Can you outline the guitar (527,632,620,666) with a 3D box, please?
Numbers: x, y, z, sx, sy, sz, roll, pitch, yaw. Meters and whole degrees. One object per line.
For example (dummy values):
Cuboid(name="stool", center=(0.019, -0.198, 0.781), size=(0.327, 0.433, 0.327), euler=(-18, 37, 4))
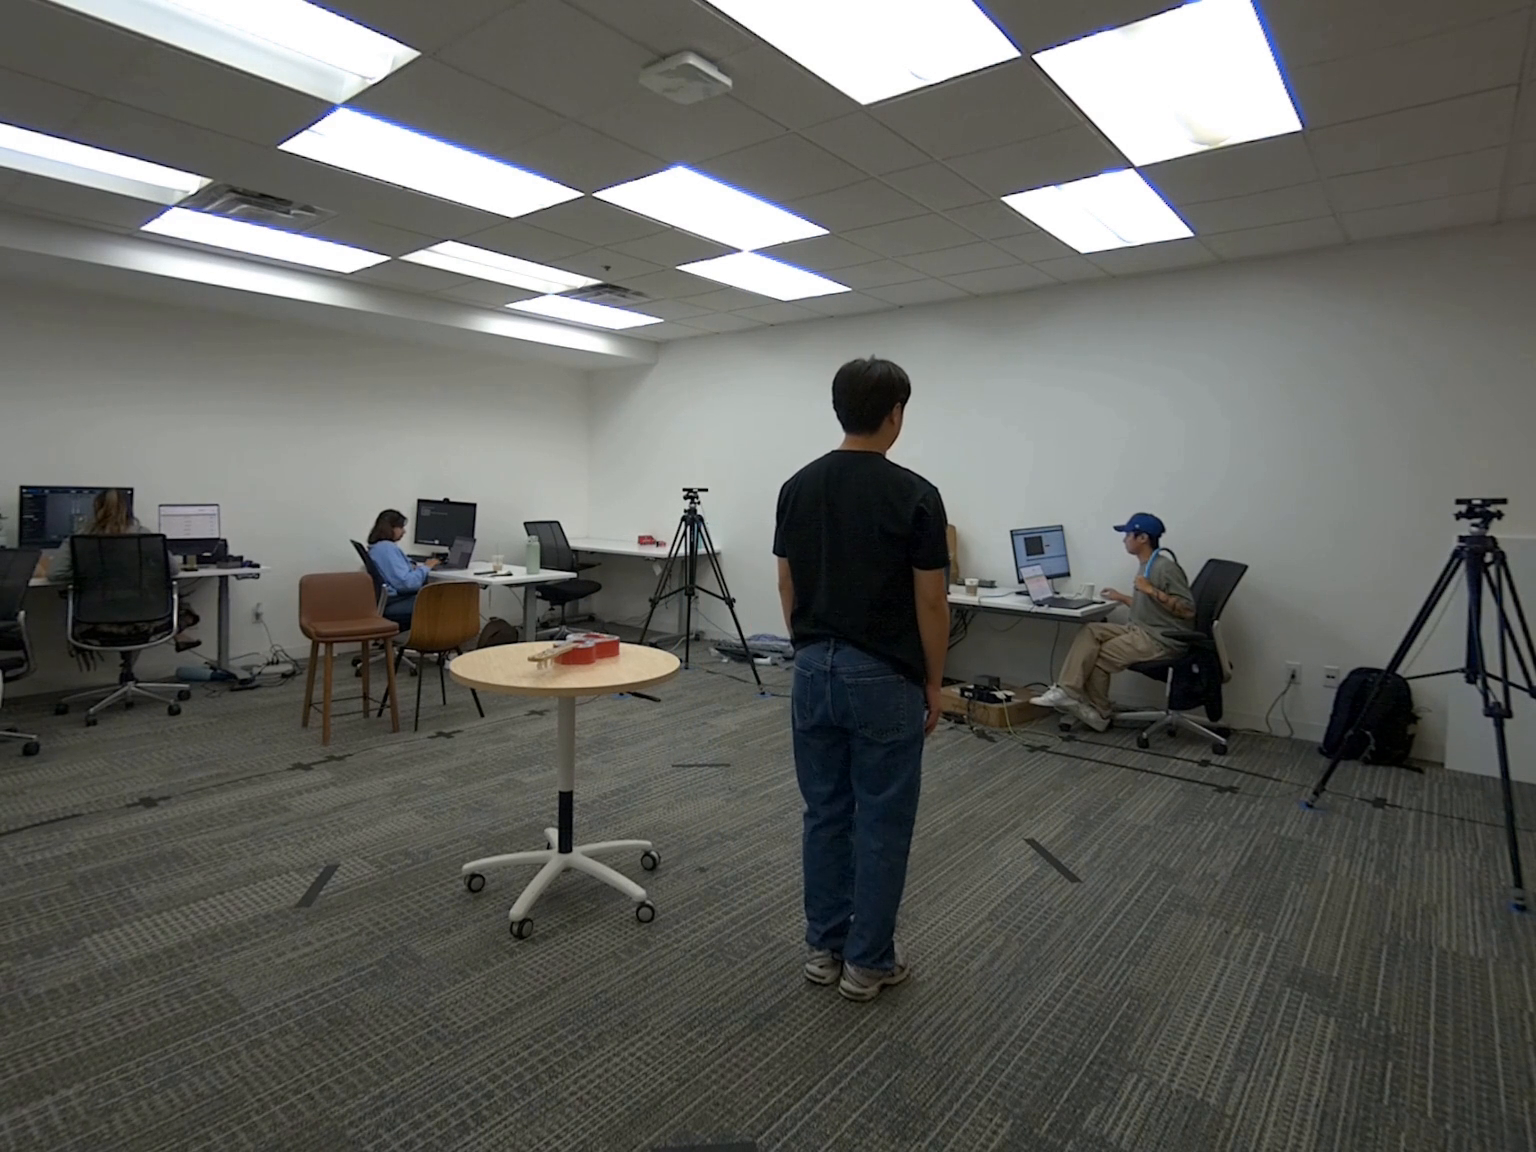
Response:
Cuboid(name="guitar", center=(-0.705, 0.257, 2.863), size=(0.198, 0.070, 0.487), euler=(4, 6, 22))
